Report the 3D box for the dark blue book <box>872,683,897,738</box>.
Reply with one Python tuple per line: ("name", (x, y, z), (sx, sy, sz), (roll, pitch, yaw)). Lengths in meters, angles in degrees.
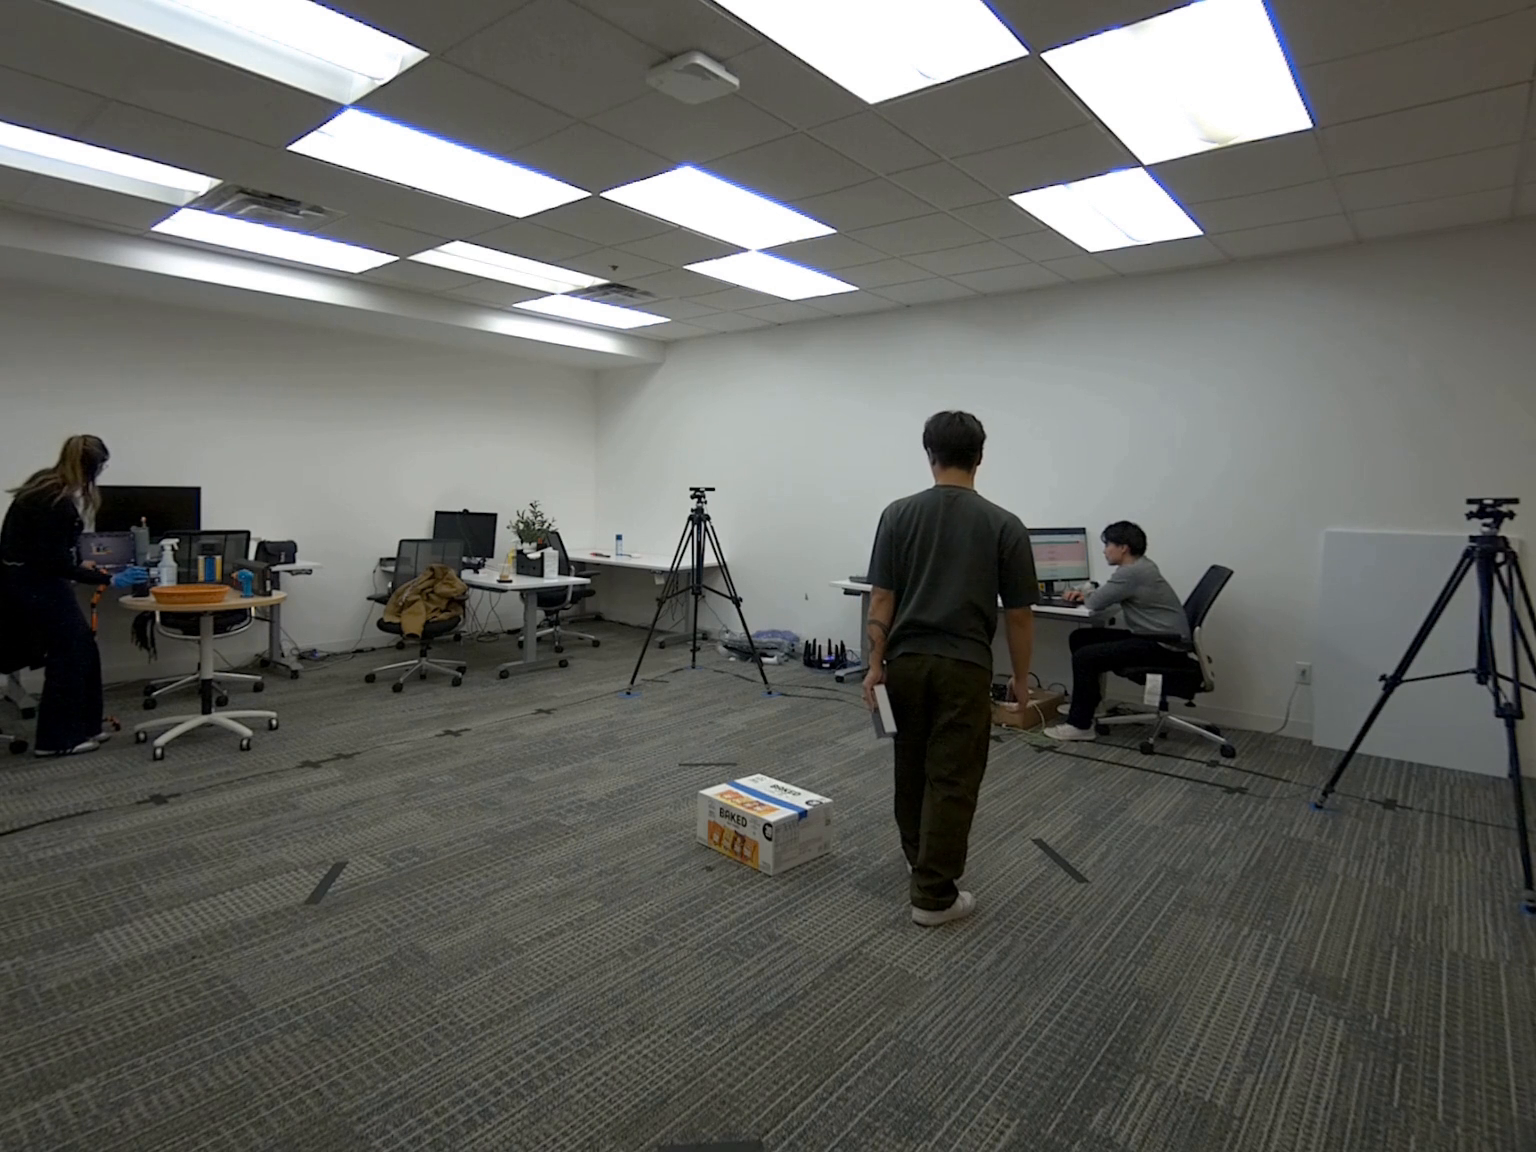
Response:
("dark blue book", (0.378, 0.464, 2.893), (0.045, 0.166, 0.242), (-8, -14, -6))
